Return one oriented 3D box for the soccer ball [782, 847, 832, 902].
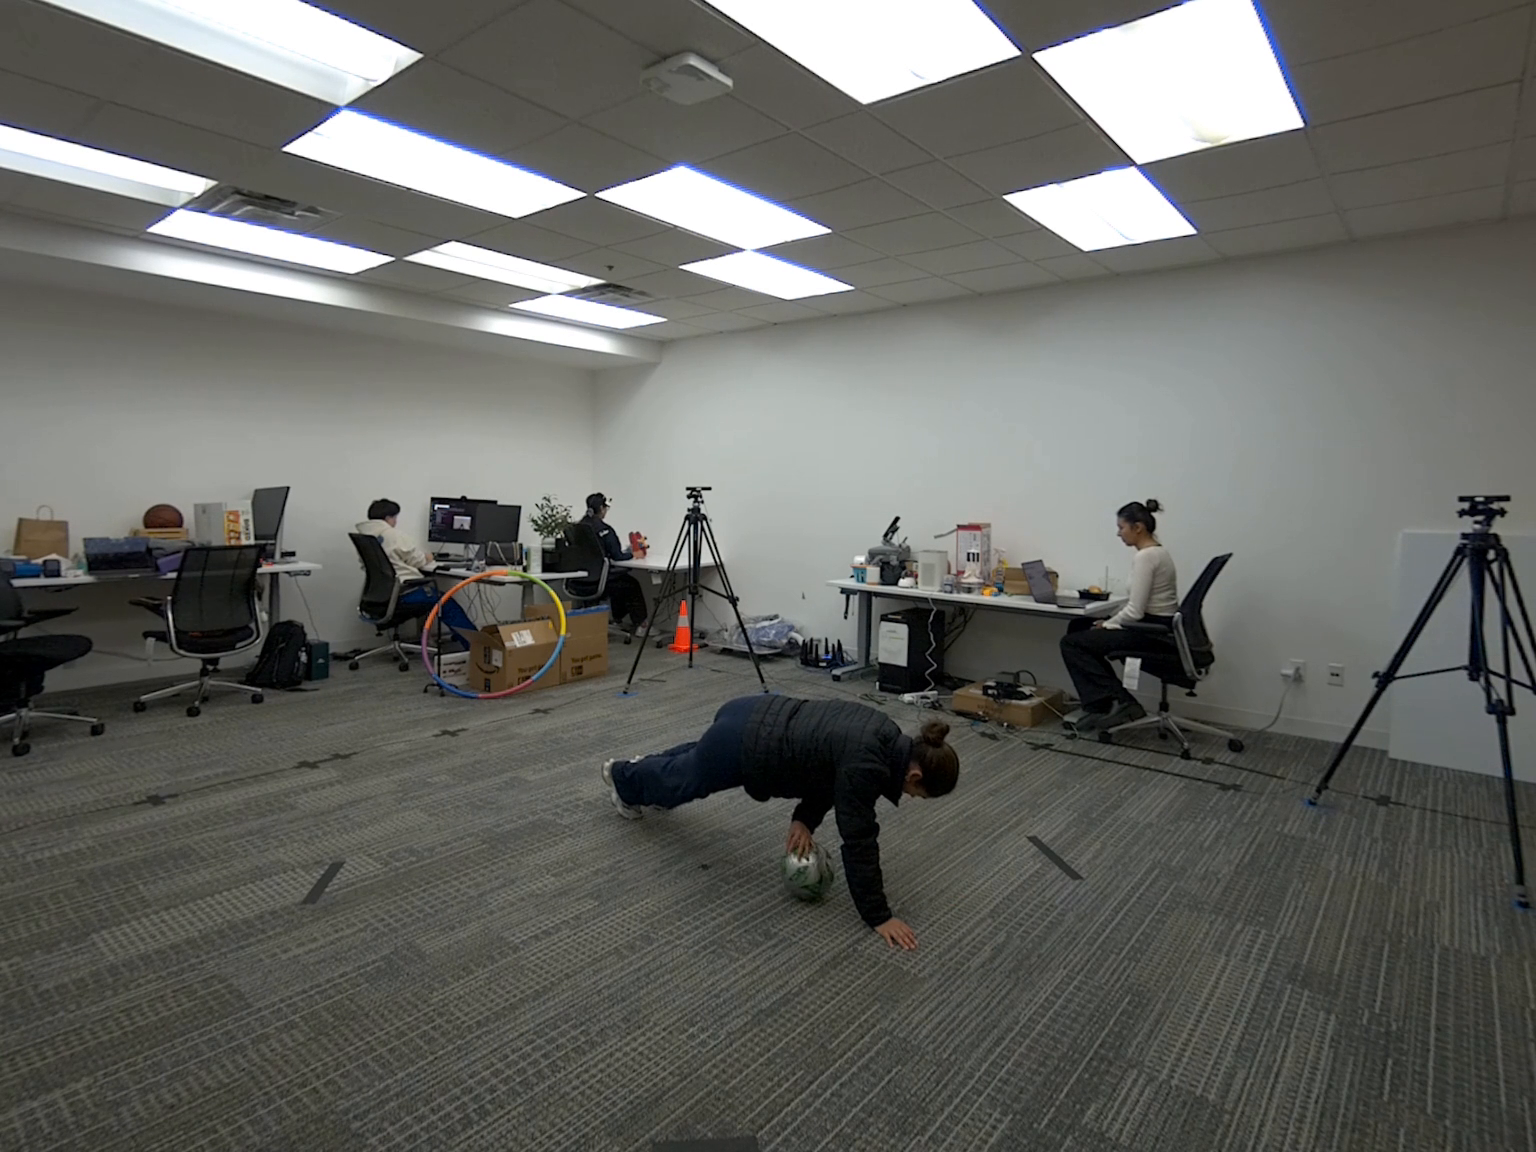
[{"bbox_3d":[0.135,1.002,2.912,0.187,0.187,0.188,1,4,-2],"label":"soccer ball"}]
